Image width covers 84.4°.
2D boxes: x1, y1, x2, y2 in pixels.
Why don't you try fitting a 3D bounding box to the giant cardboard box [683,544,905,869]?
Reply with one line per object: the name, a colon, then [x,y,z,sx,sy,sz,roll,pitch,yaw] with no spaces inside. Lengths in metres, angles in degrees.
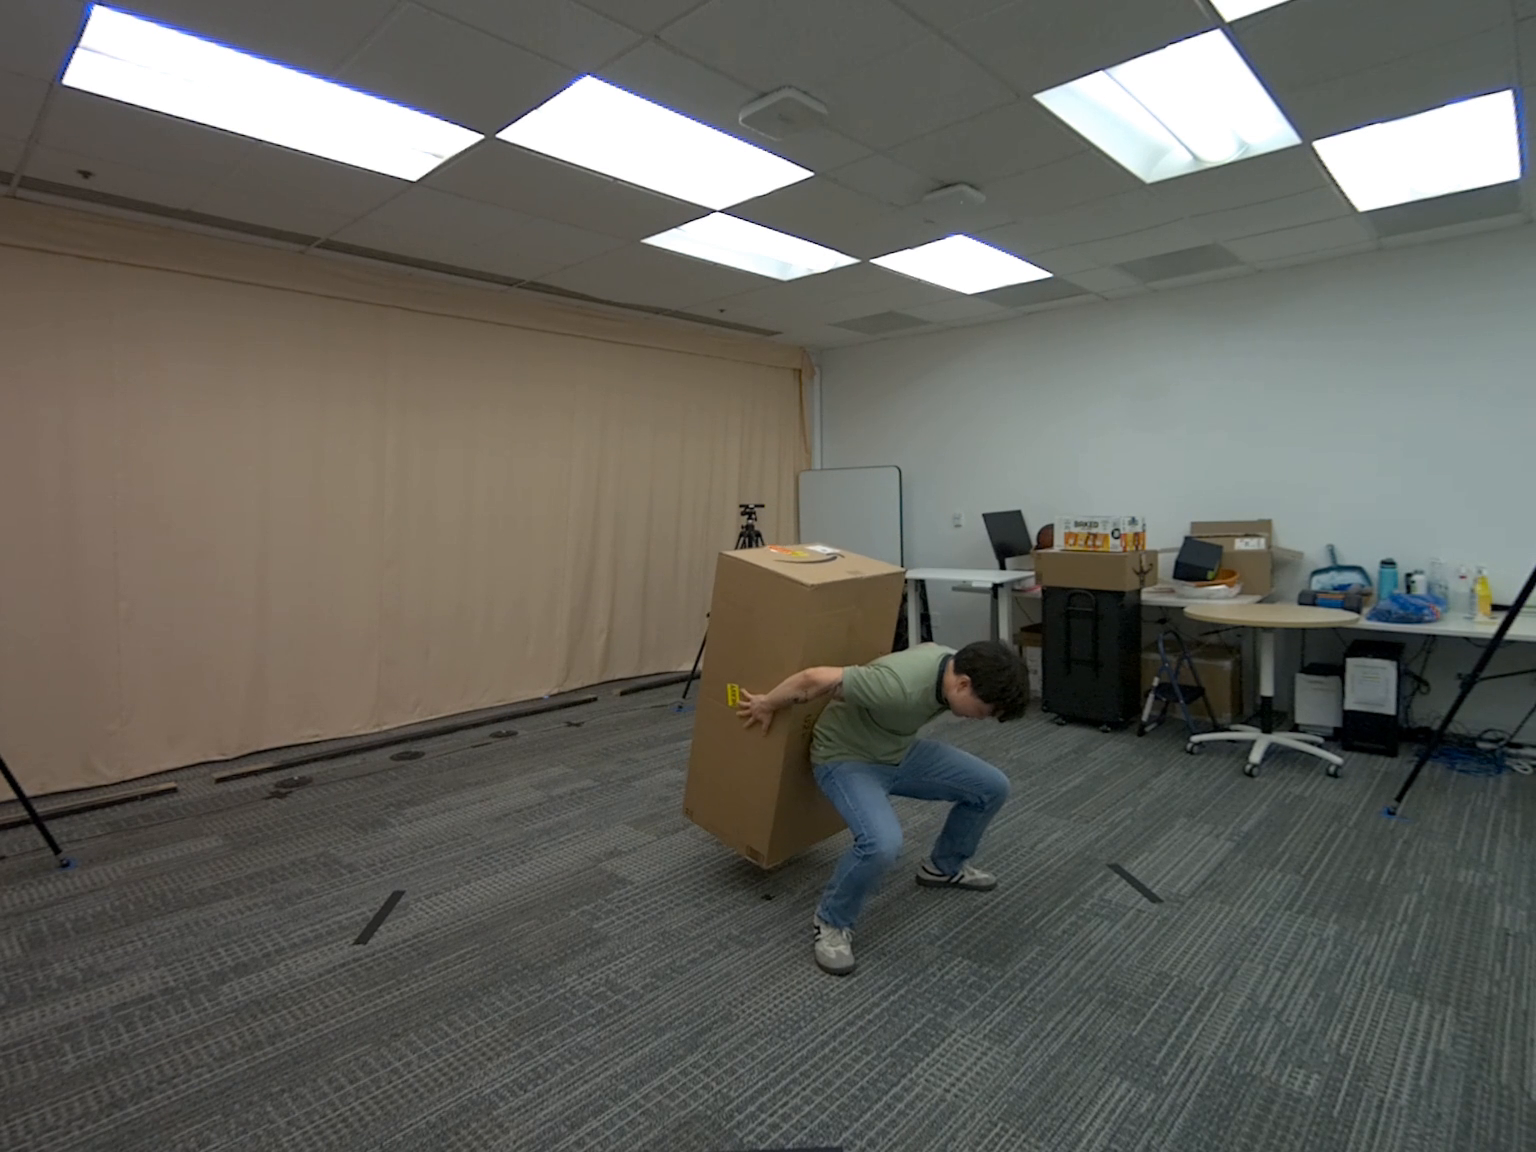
giant cardboard box: [0.091,0.441,3.111,0.442,1.020,0.560,19,16,40]
